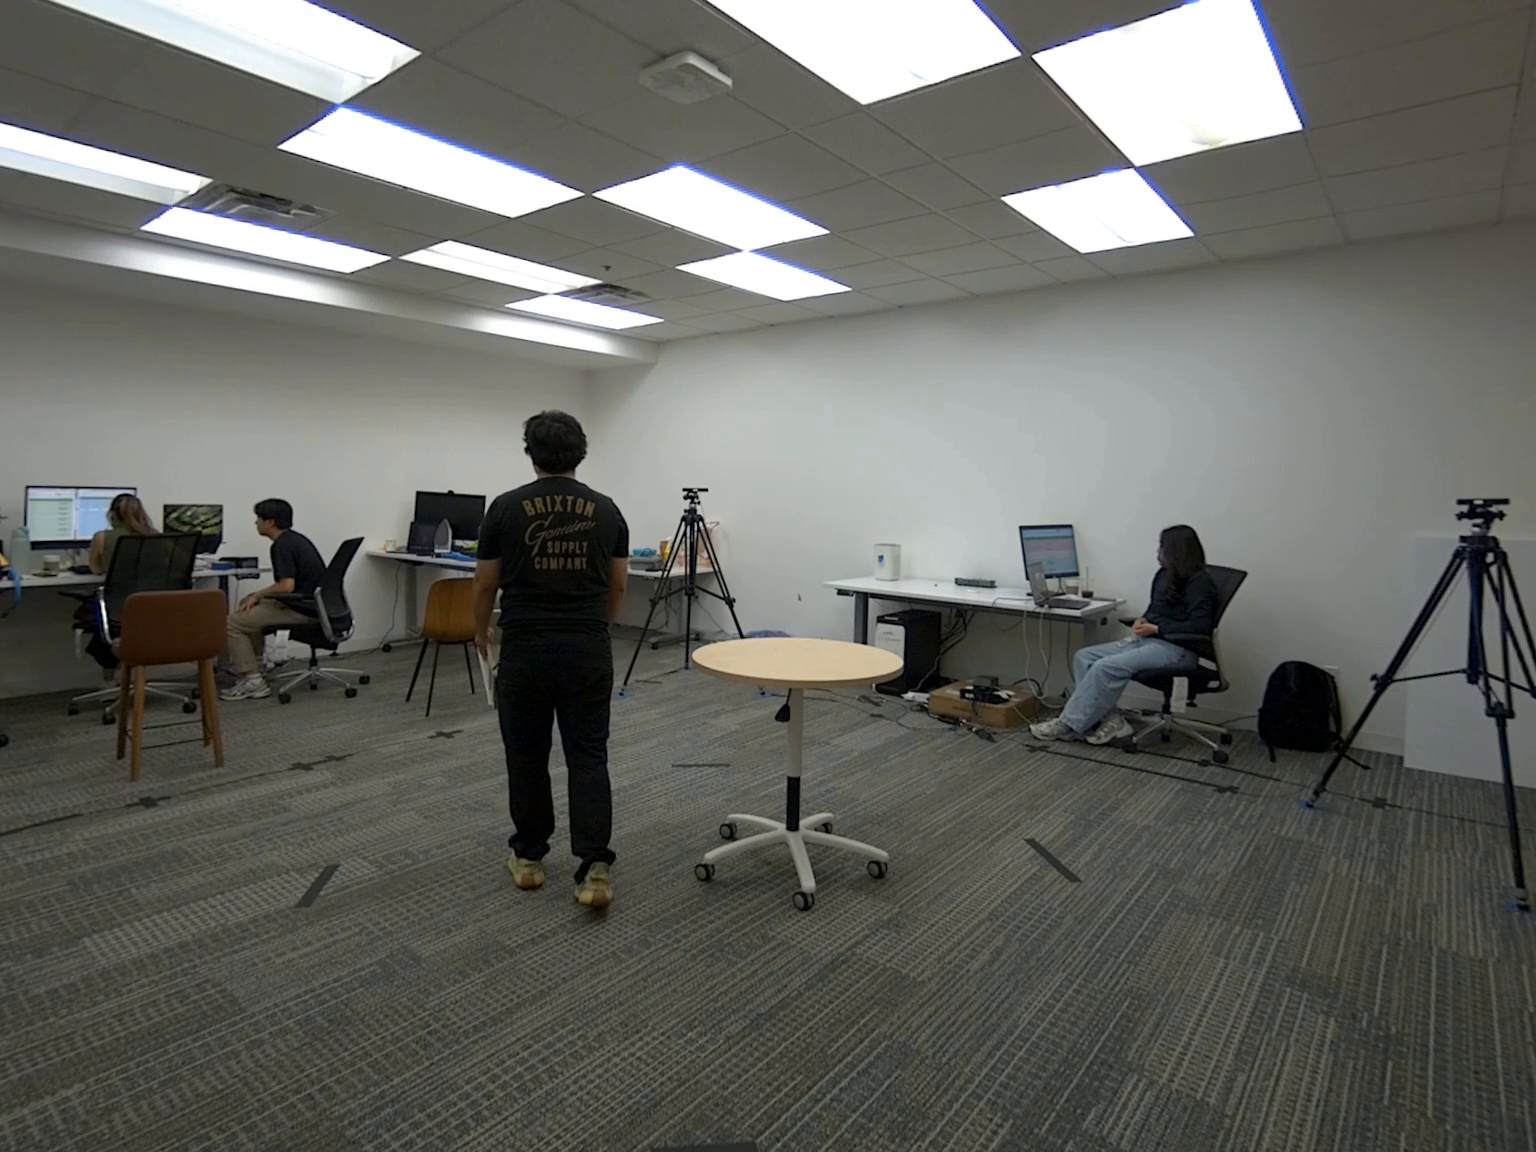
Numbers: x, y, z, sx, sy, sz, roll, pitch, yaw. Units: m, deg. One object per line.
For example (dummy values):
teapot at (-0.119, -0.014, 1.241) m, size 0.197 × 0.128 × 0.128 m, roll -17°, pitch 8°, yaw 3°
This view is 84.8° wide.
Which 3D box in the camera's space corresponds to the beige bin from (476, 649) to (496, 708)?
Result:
beige bin at (-0.881, 0.308, 3.259) m, size 0.413 × 0.185 × 0.393 m, roll -5°, pitch 39°, yaw -25°
